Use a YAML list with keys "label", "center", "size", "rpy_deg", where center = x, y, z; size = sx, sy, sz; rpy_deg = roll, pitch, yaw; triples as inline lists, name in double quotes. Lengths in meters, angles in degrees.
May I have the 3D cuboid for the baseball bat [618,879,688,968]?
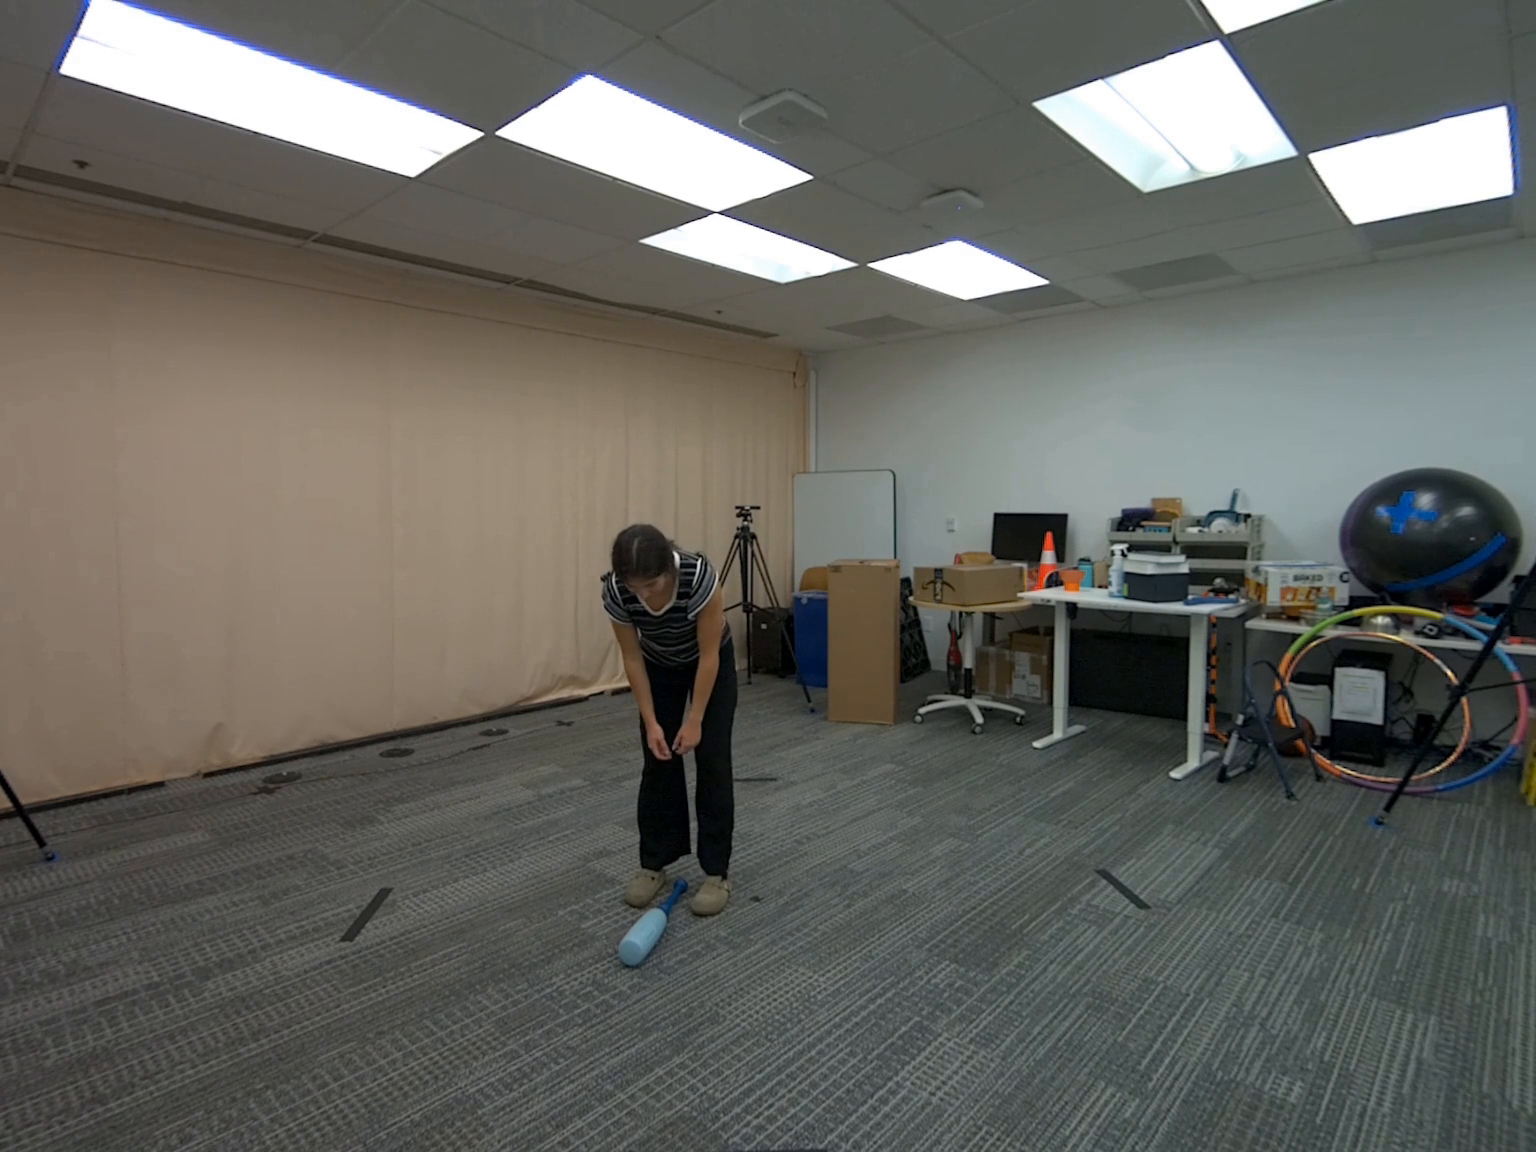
- label: "baseball bat"
  center: [-0.364, 1.124, 2.786]
  size: [0.090, 0.089, 0.536]
  rpy_deg: [1, 2, 10]
